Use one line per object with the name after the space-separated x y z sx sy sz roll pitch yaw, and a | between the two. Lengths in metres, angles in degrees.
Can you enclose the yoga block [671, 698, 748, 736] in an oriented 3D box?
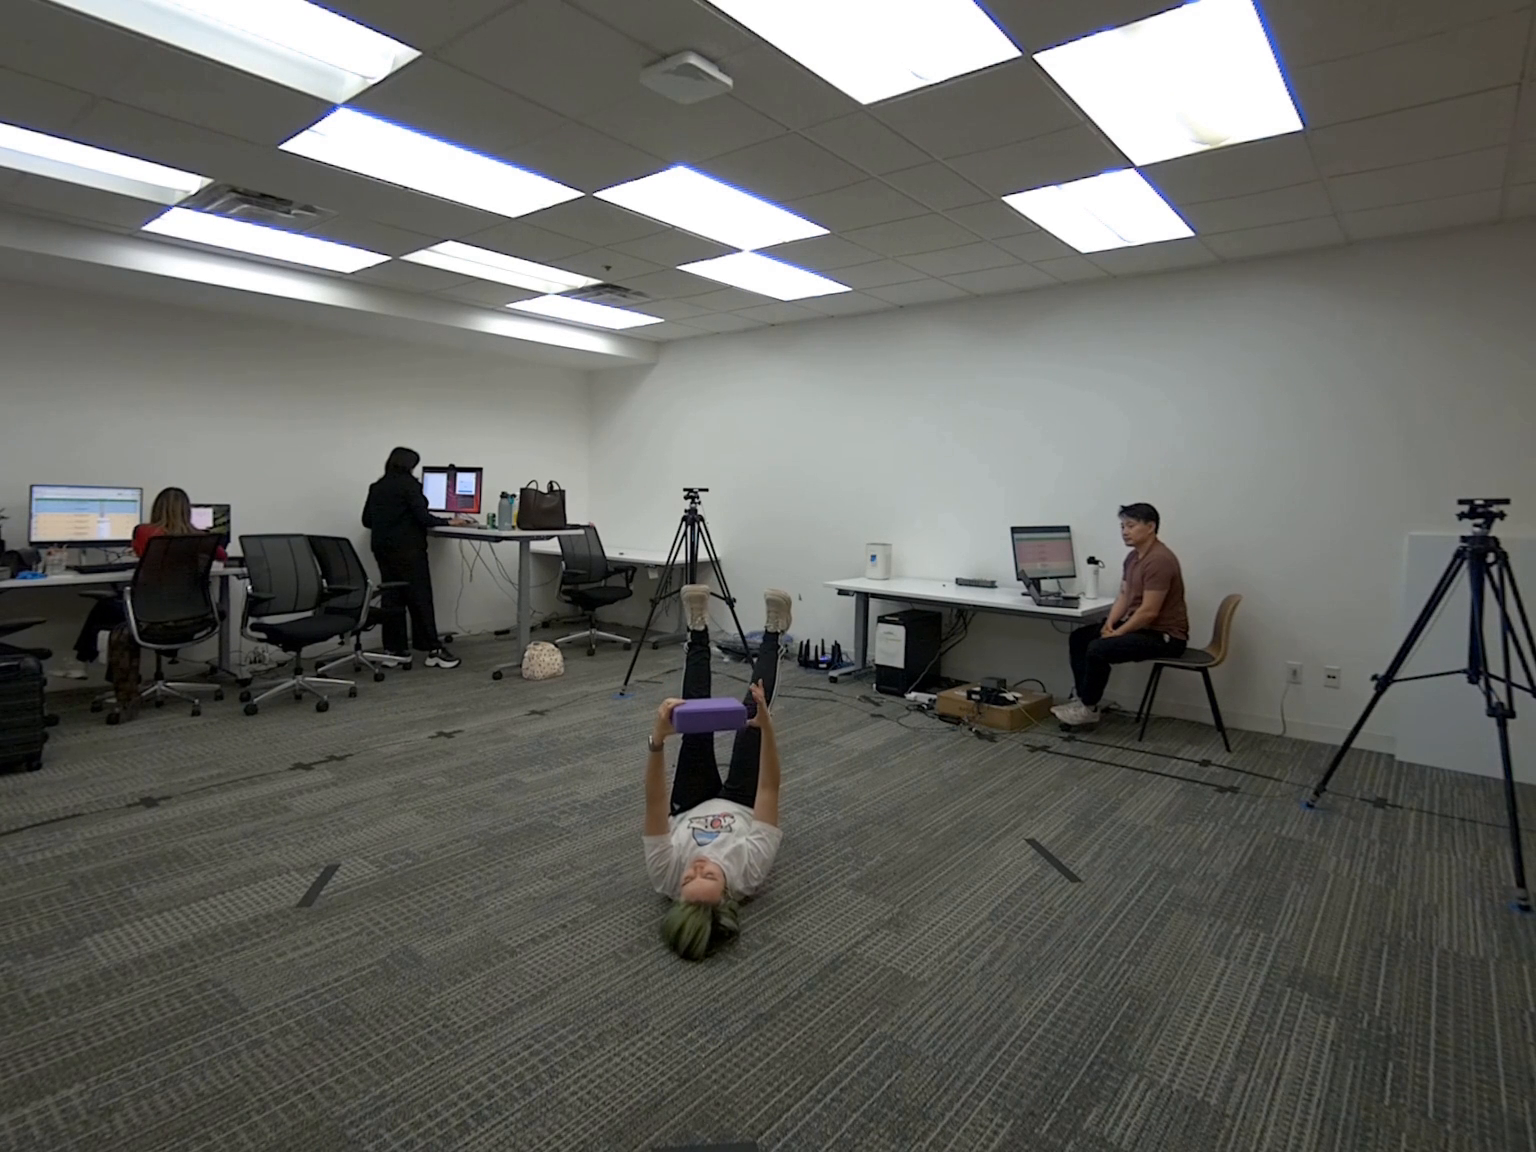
-0.207 0.443 2.736 0.226 0.076 0.151 -1 4 -13 | yoga block
